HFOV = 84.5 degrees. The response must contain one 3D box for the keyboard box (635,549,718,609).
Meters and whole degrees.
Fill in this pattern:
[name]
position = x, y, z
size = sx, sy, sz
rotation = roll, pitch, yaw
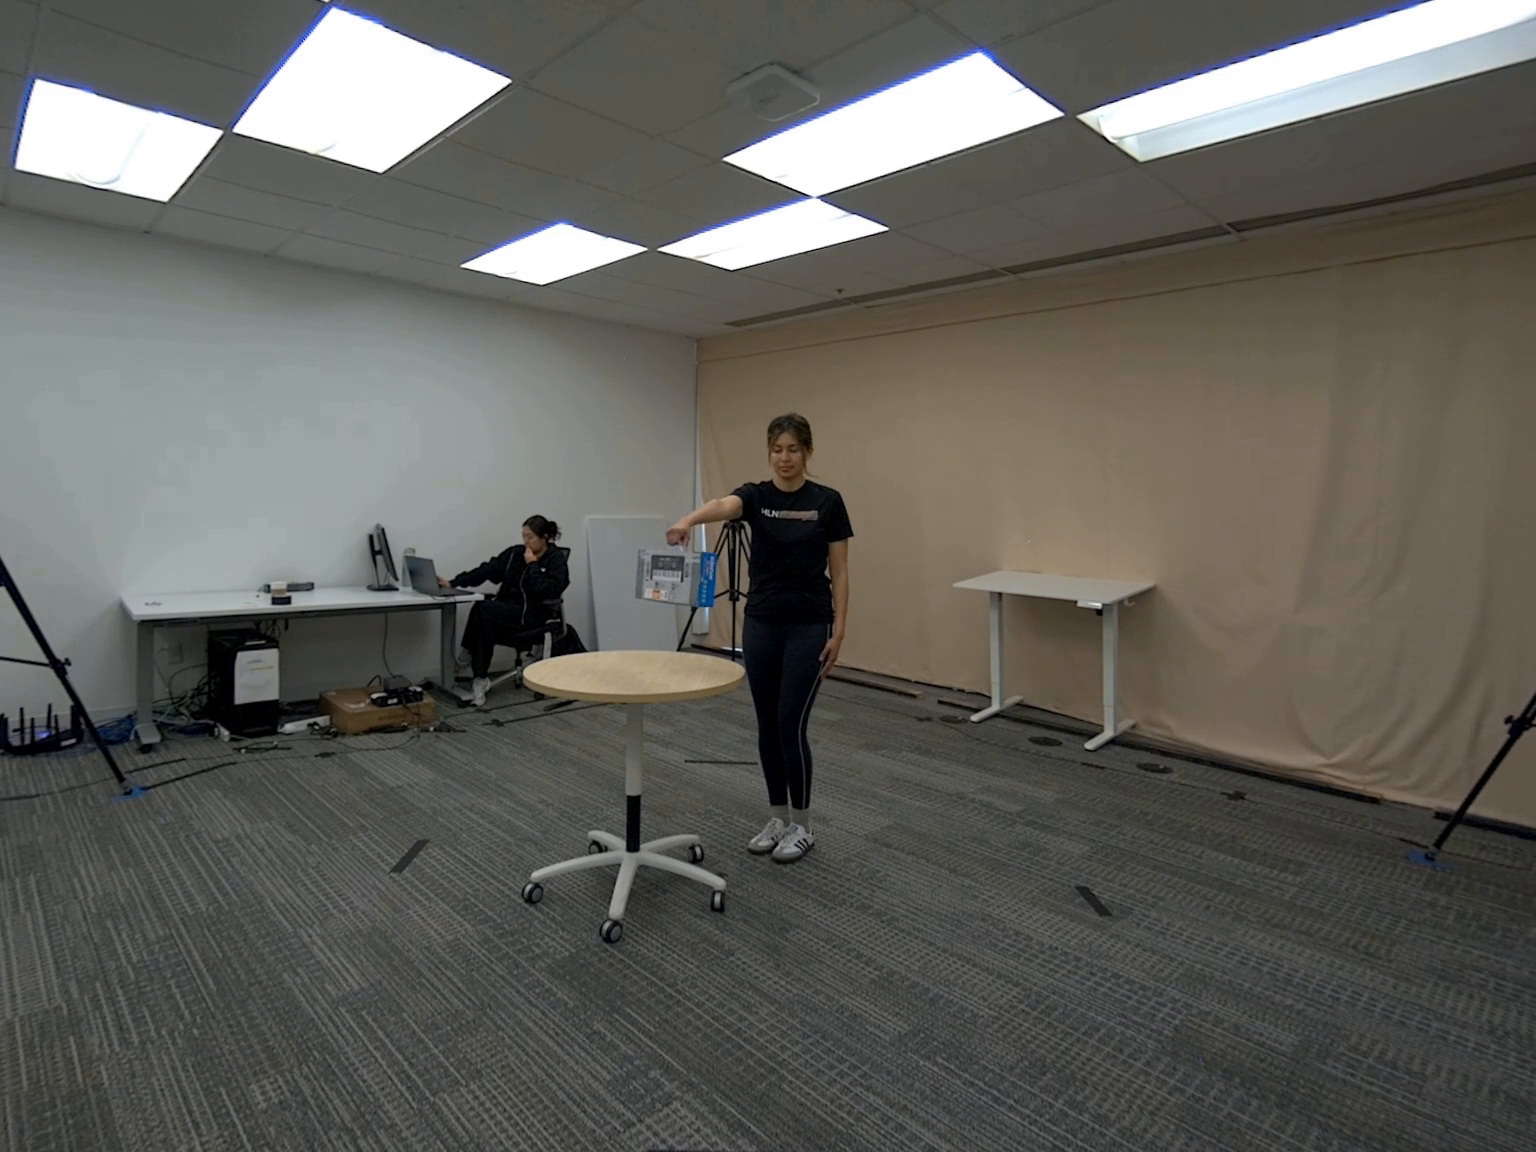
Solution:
[keyboard box]
position = -0.320, 0.011, 2.812
size = 0.058, 0.176, 0.447
rotation = 5, -1, -35
